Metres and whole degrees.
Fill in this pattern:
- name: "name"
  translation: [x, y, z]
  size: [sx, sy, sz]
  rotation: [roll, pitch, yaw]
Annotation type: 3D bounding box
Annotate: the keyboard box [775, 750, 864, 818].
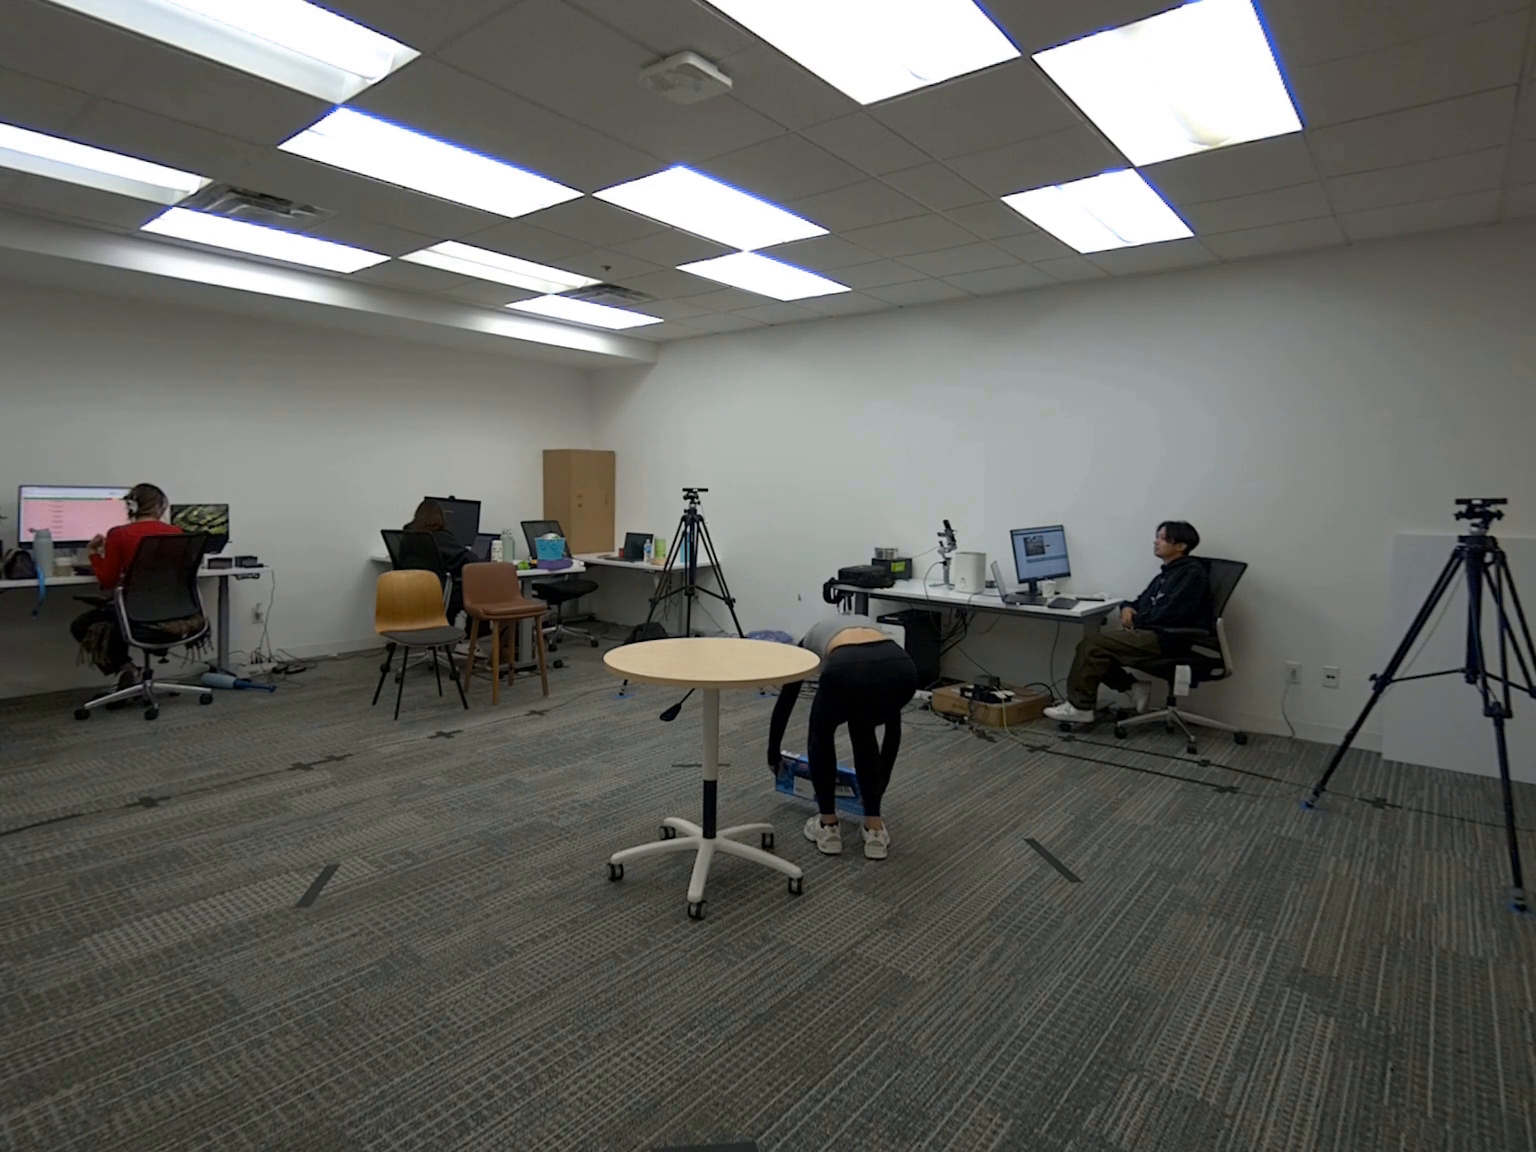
- name: "keyboard box"
  translation: [0.222, 0.884, 3.668]
  size: [0.451, 0.175, 0.057]
  rotation: [6, 6, 35]
